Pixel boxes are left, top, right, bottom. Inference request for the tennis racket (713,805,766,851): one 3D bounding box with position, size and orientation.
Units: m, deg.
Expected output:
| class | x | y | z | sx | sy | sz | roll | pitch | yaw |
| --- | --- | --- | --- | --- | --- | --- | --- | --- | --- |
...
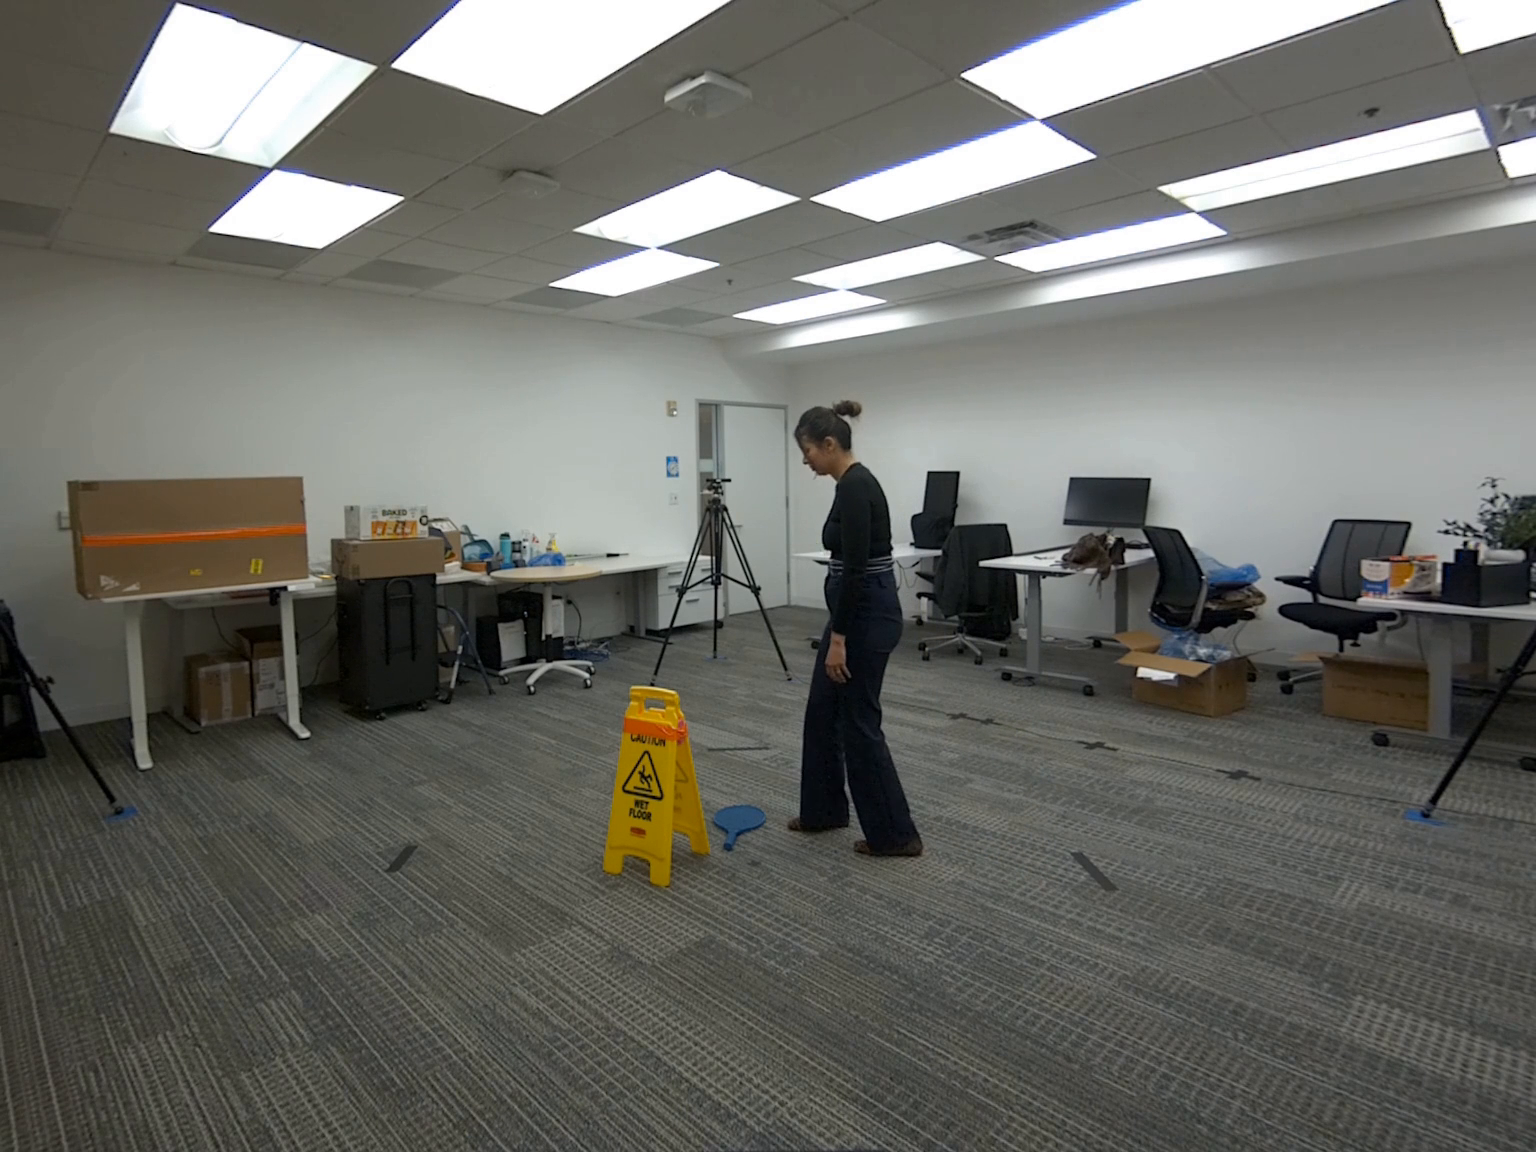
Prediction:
| class | x | y | z | sx | sy | sz | roll | pitch | yaw |
| --- | --- | --- | --- | --- | --- | --- | --- | --- | --- |
| tennis racket | -0.120 | 0.992 | 3.421 | 0.215 | 0.031 | 0.431 | 0 | 5 | 5 |
